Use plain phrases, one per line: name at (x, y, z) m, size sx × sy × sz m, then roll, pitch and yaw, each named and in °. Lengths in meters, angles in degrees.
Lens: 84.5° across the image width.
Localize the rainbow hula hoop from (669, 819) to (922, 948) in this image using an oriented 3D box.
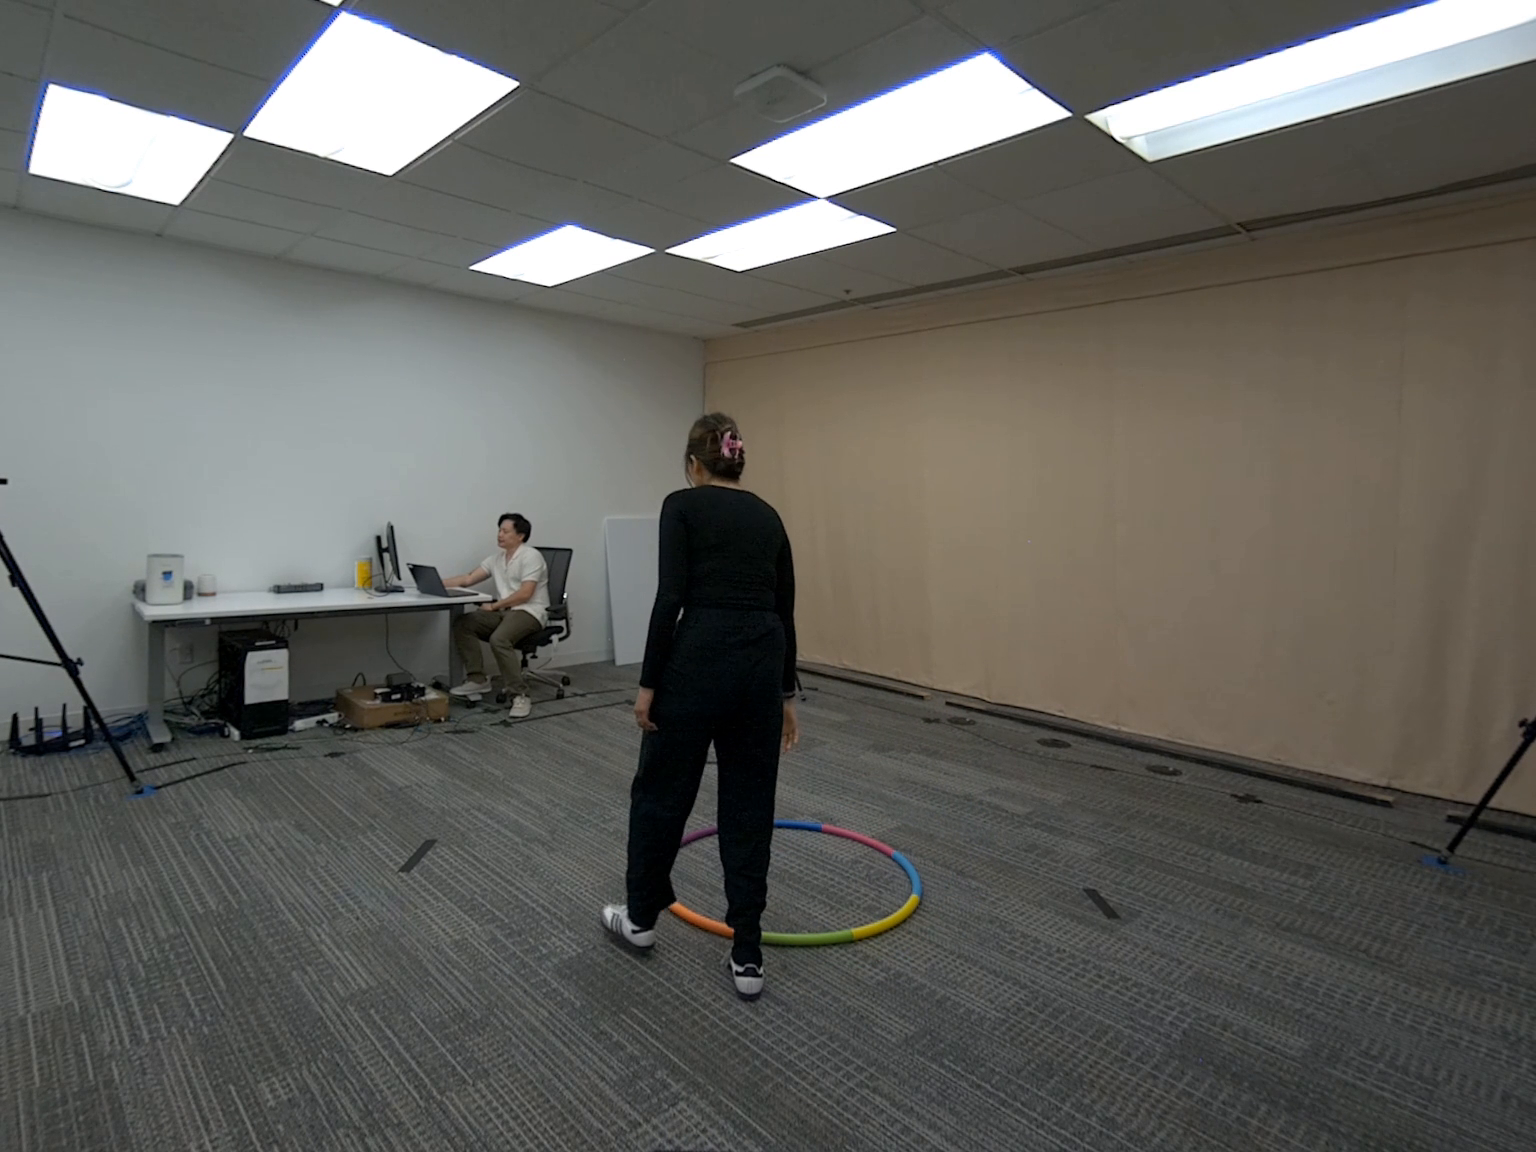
rainbow hula hoop at (0.053, 1.082, 3.100) m, size 0.978 × 0.035 × 0.982 m, roll 1°, pitch 5°, yaw -1°
